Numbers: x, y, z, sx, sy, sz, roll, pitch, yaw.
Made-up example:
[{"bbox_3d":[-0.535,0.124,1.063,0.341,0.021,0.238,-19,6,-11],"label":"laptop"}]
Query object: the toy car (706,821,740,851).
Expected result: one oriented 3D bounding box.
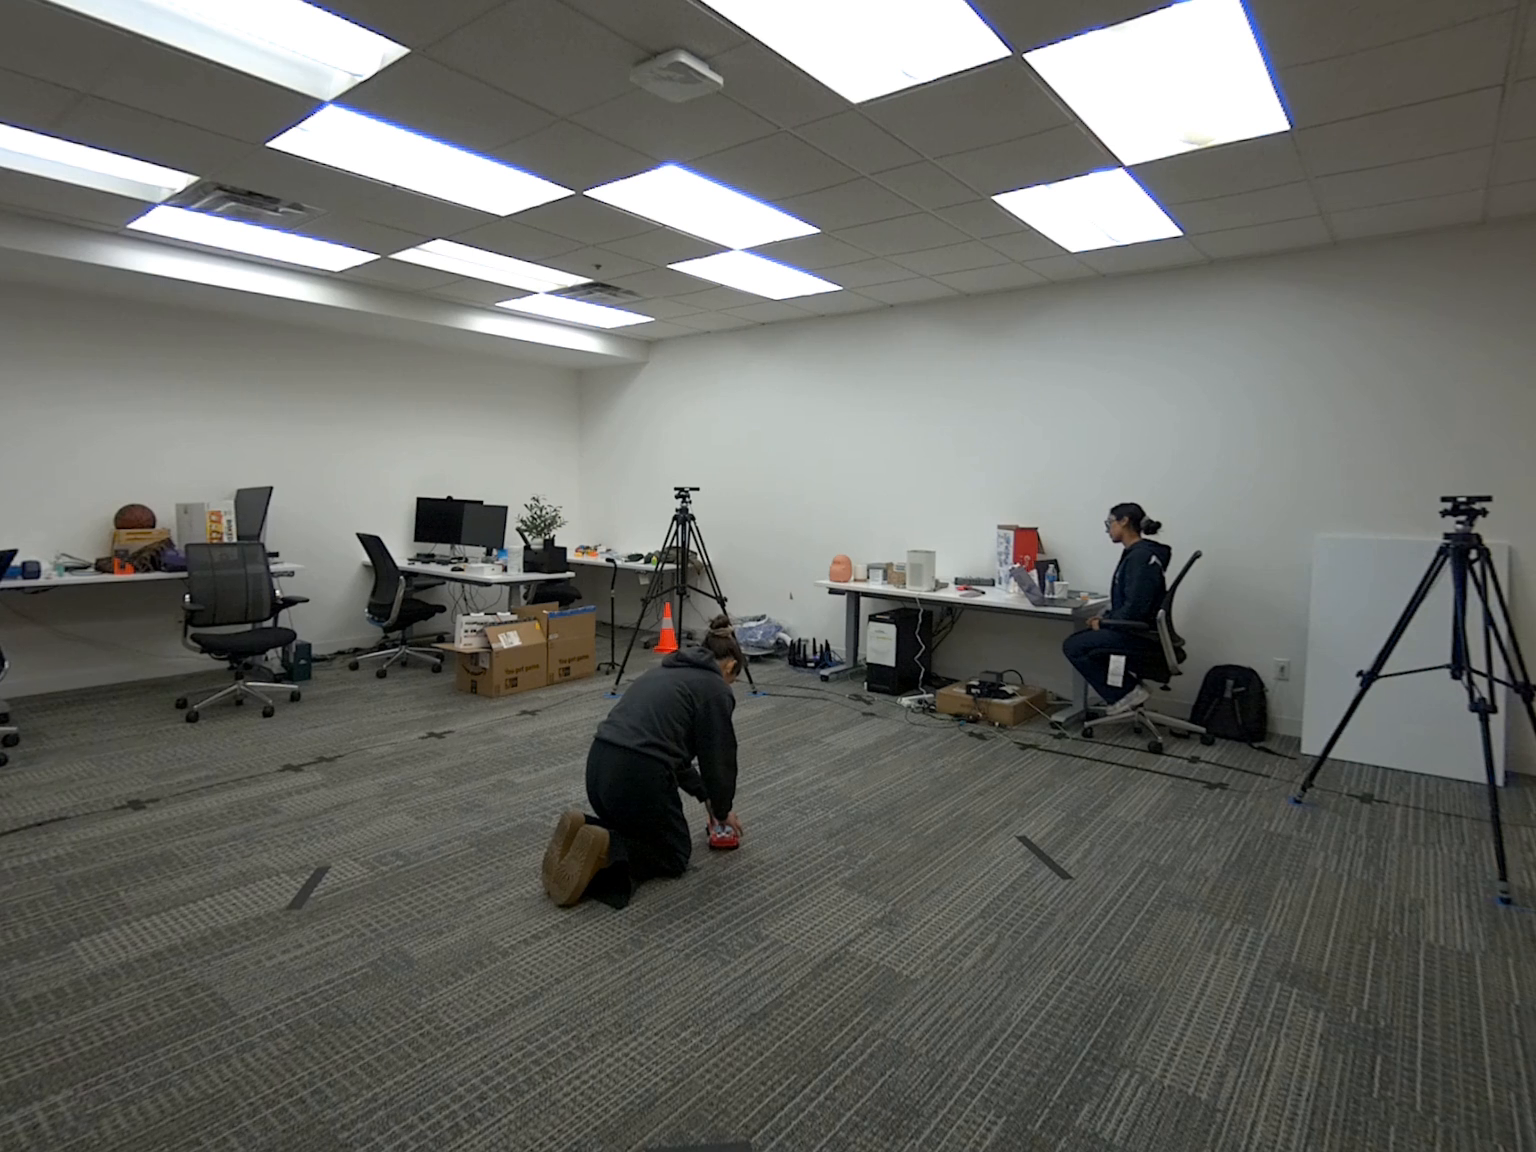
[{"bbox_3d":[-0.188,1.006,3.384,0.129,0.082,0.260,0,18,-7],"label":"toy car"}]
